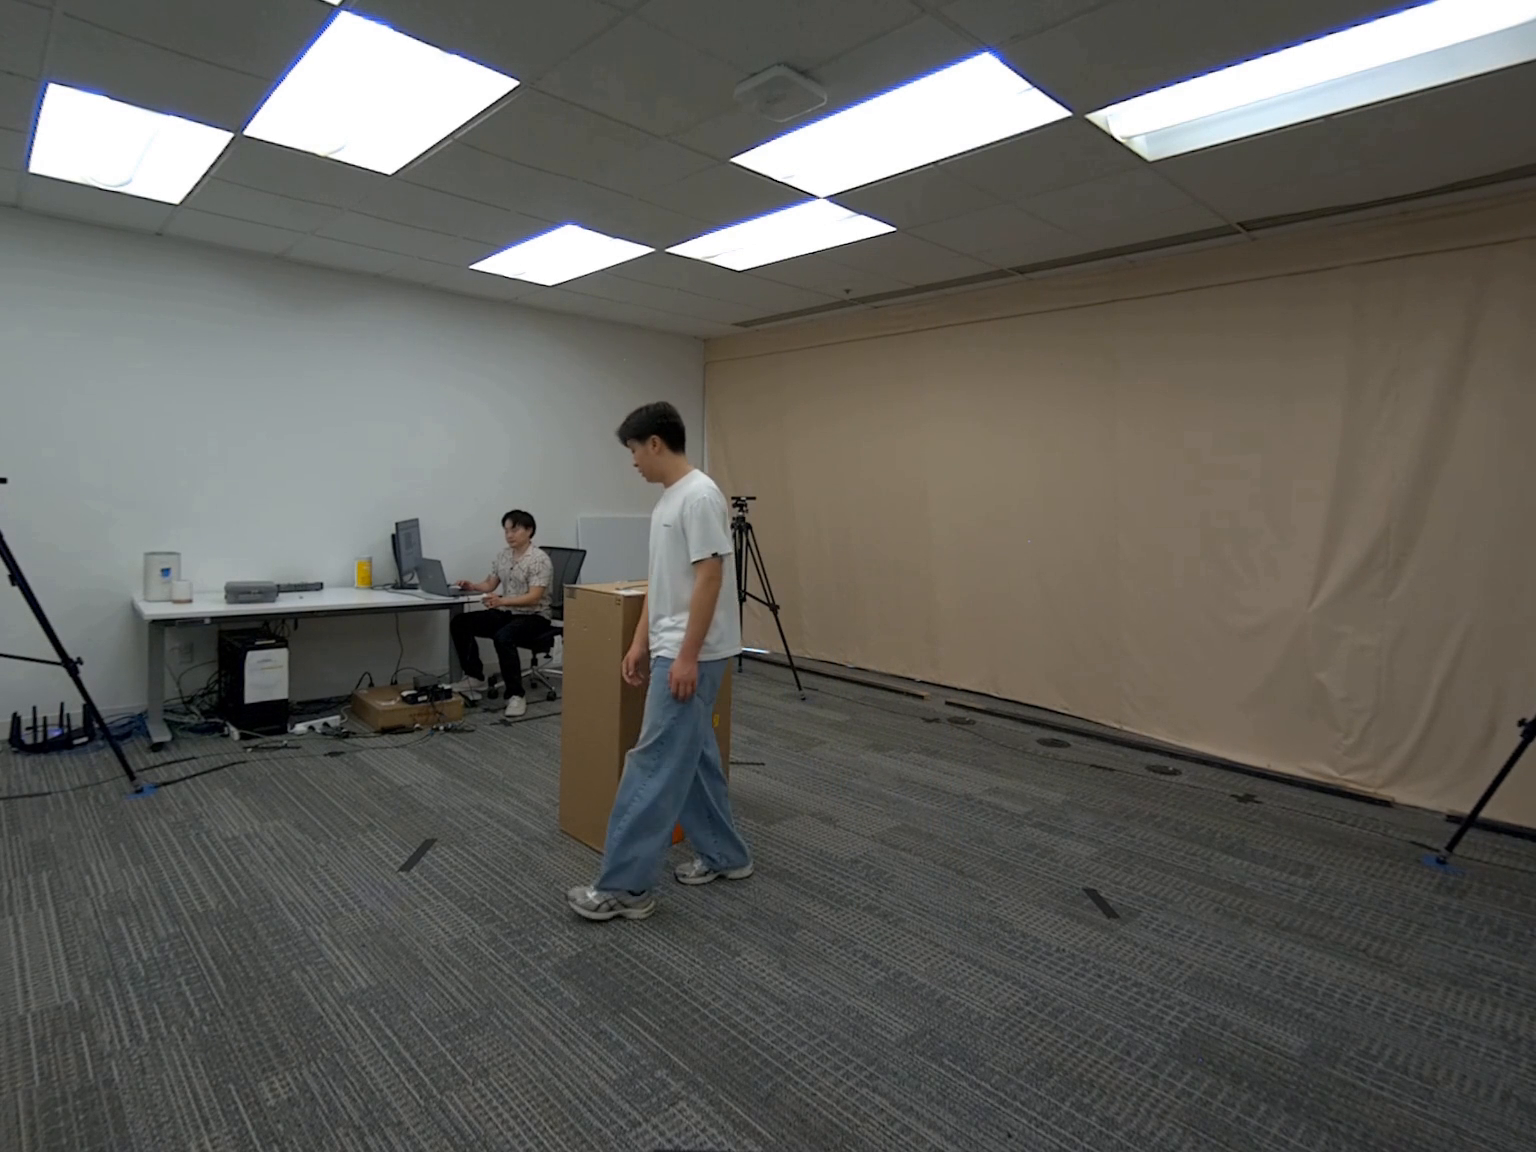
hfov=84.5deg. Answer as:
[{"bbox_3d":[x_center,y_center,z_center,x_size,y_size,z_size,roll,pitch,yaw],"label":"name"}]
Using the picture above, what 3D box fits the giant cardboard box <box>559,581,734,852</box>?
[{"bbox_3d":[-0.512,0.553,3.516,0.564,1.023,0.437,-2,5,-44],"label":"giant cardboard box"}]
